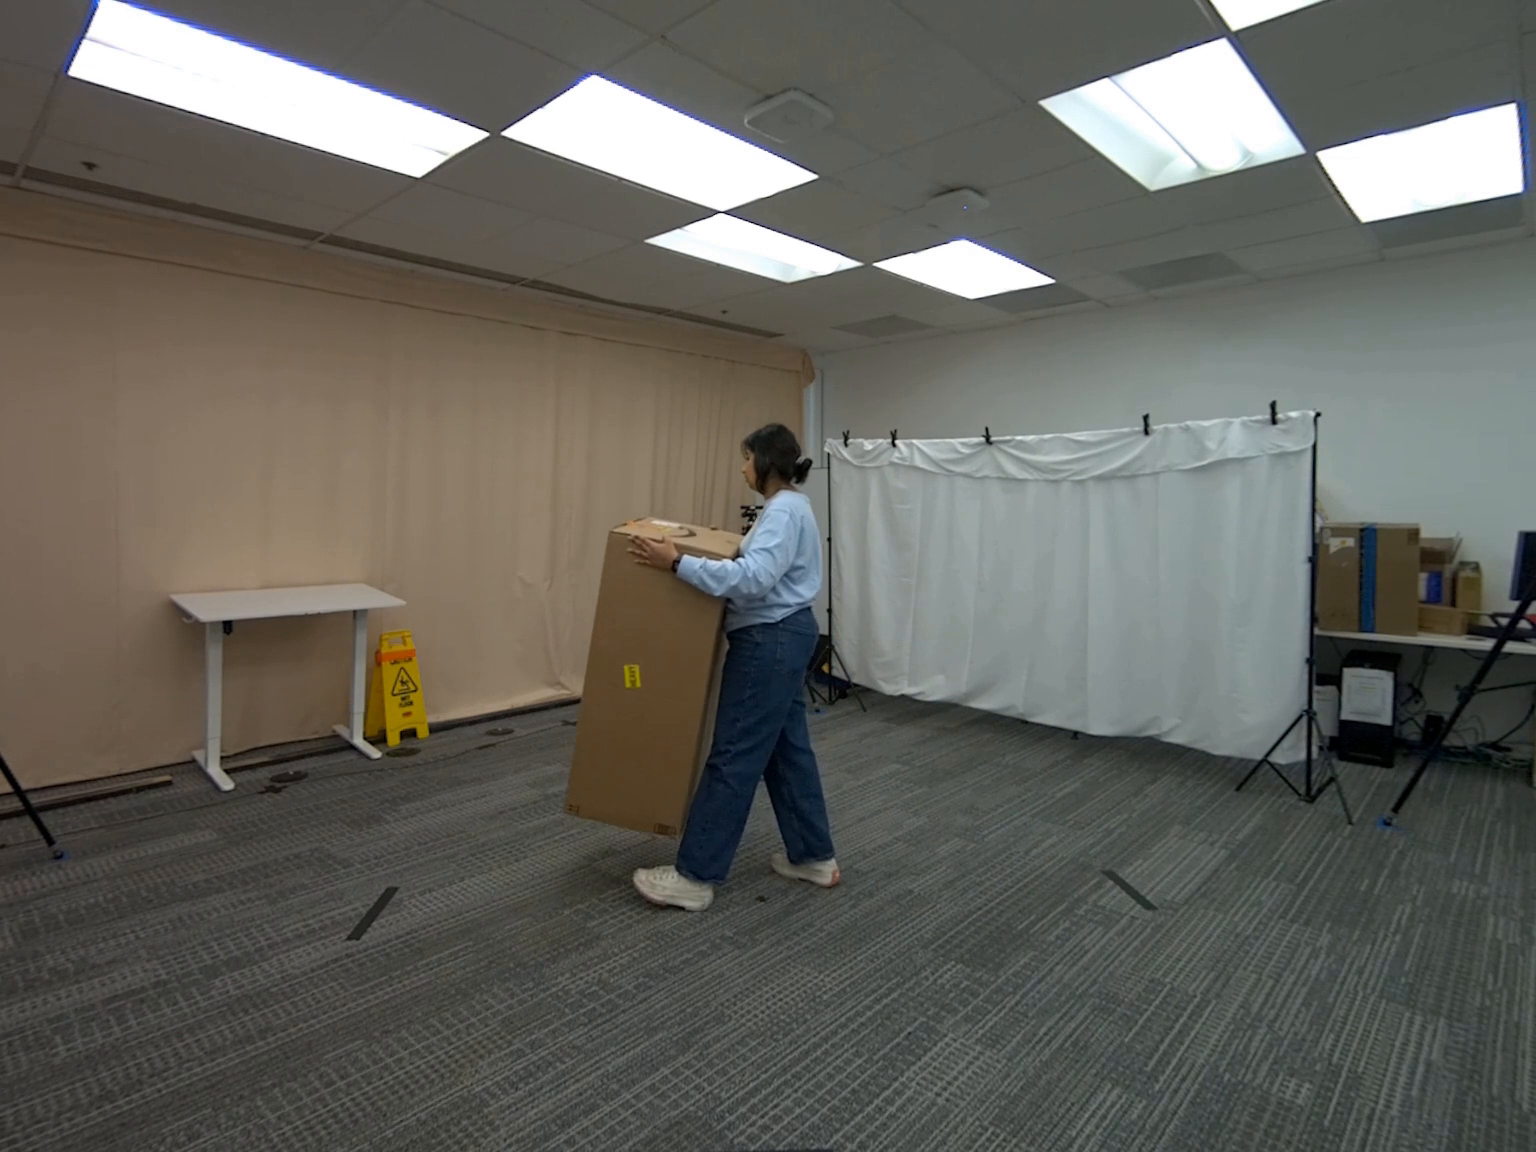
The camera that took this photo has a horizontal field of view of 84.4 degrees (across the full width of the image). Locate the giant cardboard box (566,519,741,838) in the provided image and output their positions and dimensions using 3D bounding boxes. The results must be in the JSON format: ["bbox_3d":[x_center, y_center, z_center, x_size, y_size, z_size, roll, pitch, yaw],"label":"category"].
[{"bbox_3d":[-0.399,0.349,3.141,0.429,1.022,0.576,12,9,5],"label":"giant cardboard box"}]
